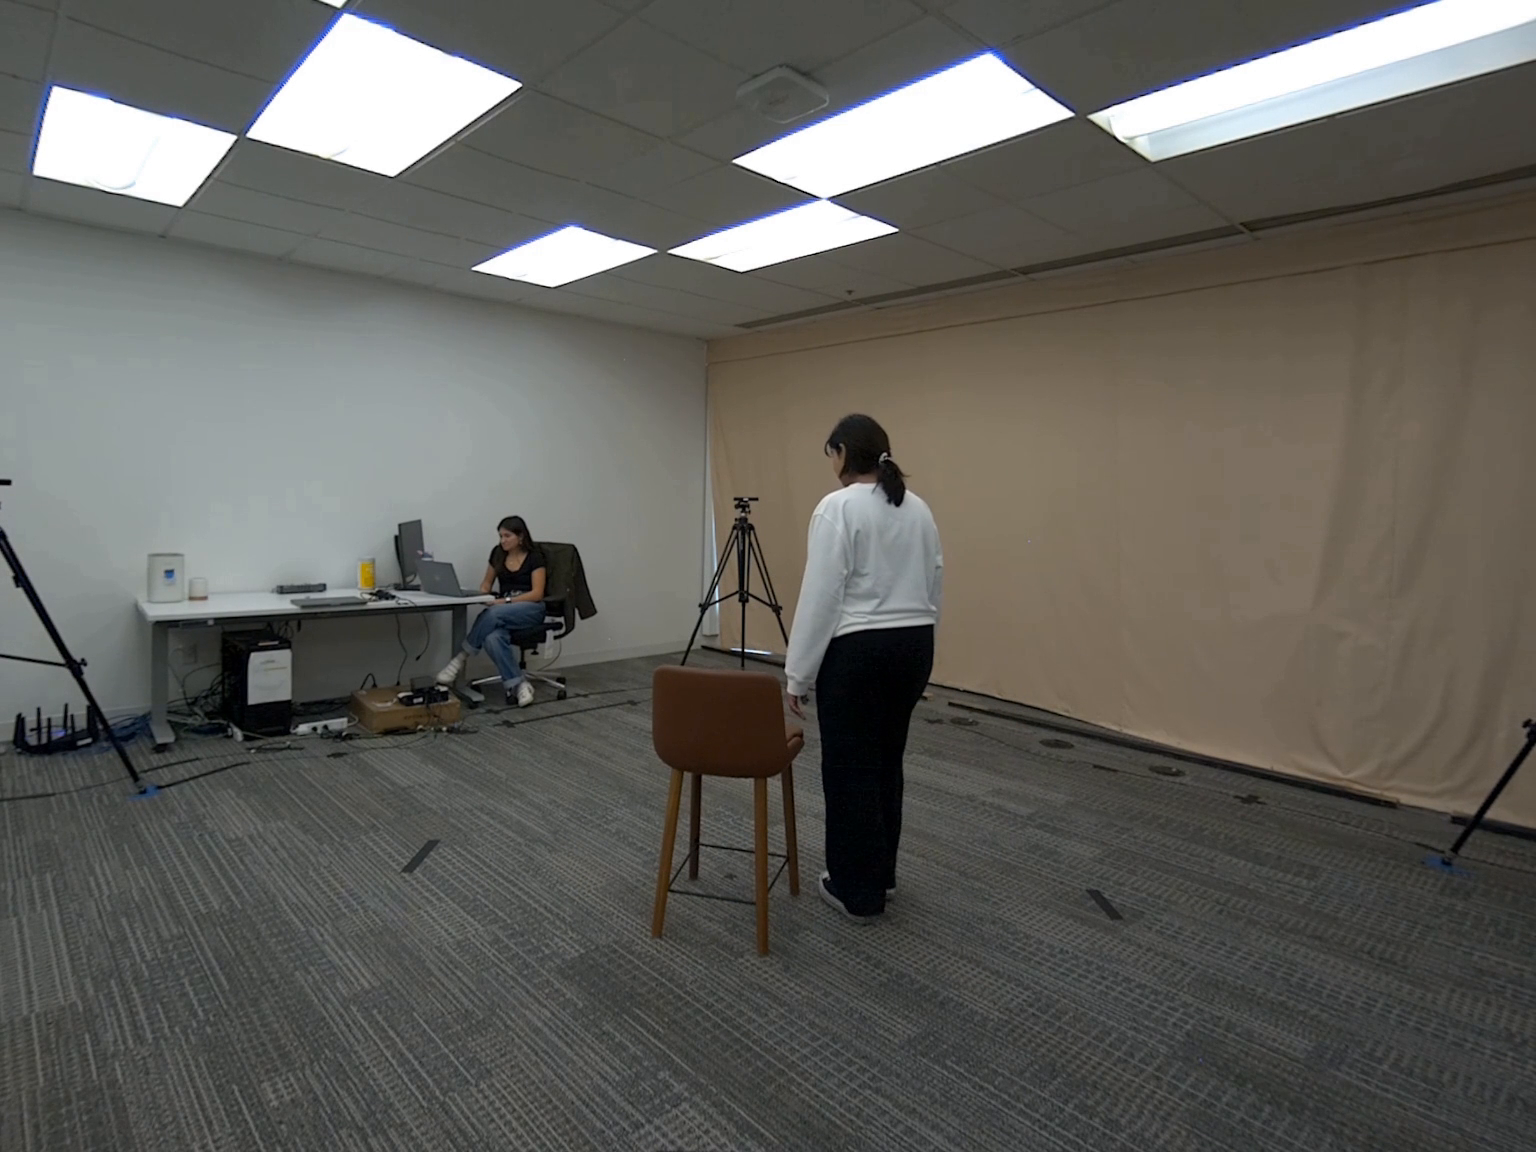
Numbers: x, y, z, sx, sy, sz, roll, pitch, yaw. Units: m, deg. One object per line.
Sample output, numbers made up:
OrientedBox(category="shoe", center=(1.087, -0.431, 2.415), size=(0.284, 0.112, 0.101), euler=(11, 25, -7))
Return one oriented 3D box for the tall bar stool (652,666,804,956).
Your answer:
OrientedBox(category="tall bar stool", center=(-0.133, 0.703, 2.789), size=(0.462, 0.887, 0.463), euler=(2, 5, 14))
